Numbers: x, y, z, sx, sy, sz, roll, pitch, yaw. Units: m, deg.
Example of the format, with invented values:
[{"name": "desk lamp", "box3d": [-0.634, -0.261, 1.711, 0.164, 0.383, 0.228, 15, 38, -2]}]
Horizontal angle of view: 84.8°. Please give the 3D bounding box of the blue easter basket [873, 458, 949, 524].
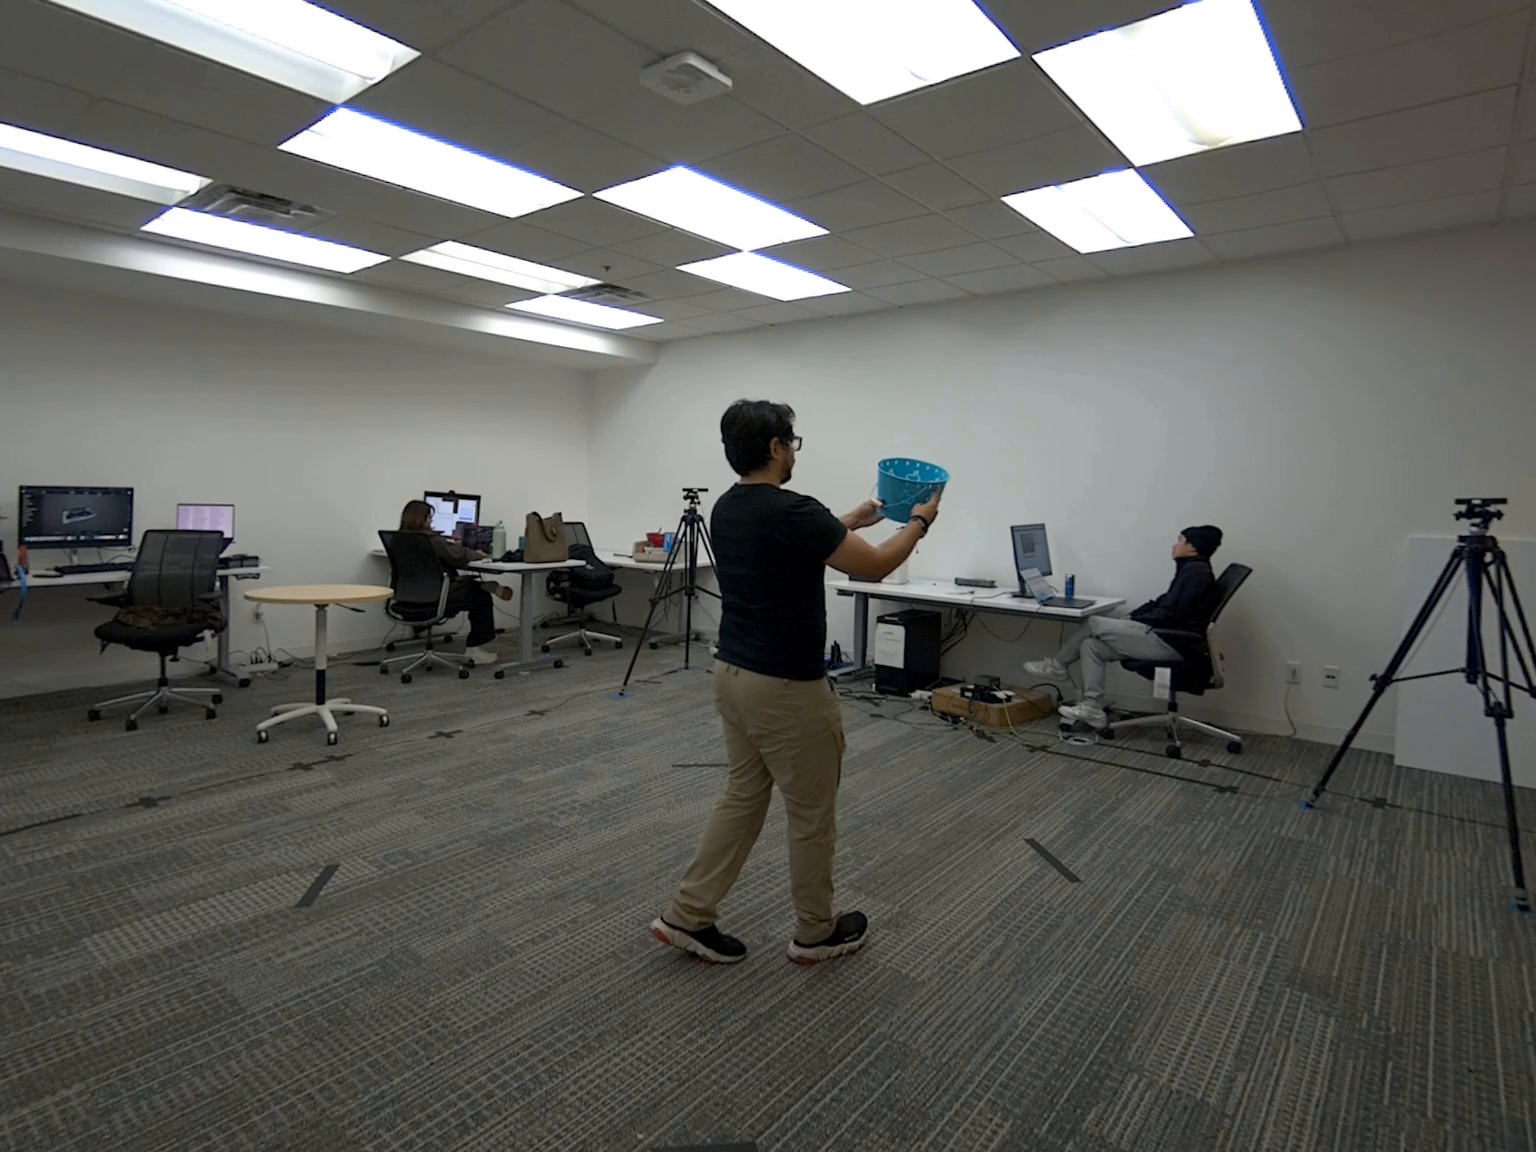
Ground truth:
[{"name": "blue easter basket", "box3d": [0.453, -0.270, 2.726, 0.242, 0.153, 0.249, 5, 26, -4]}]
